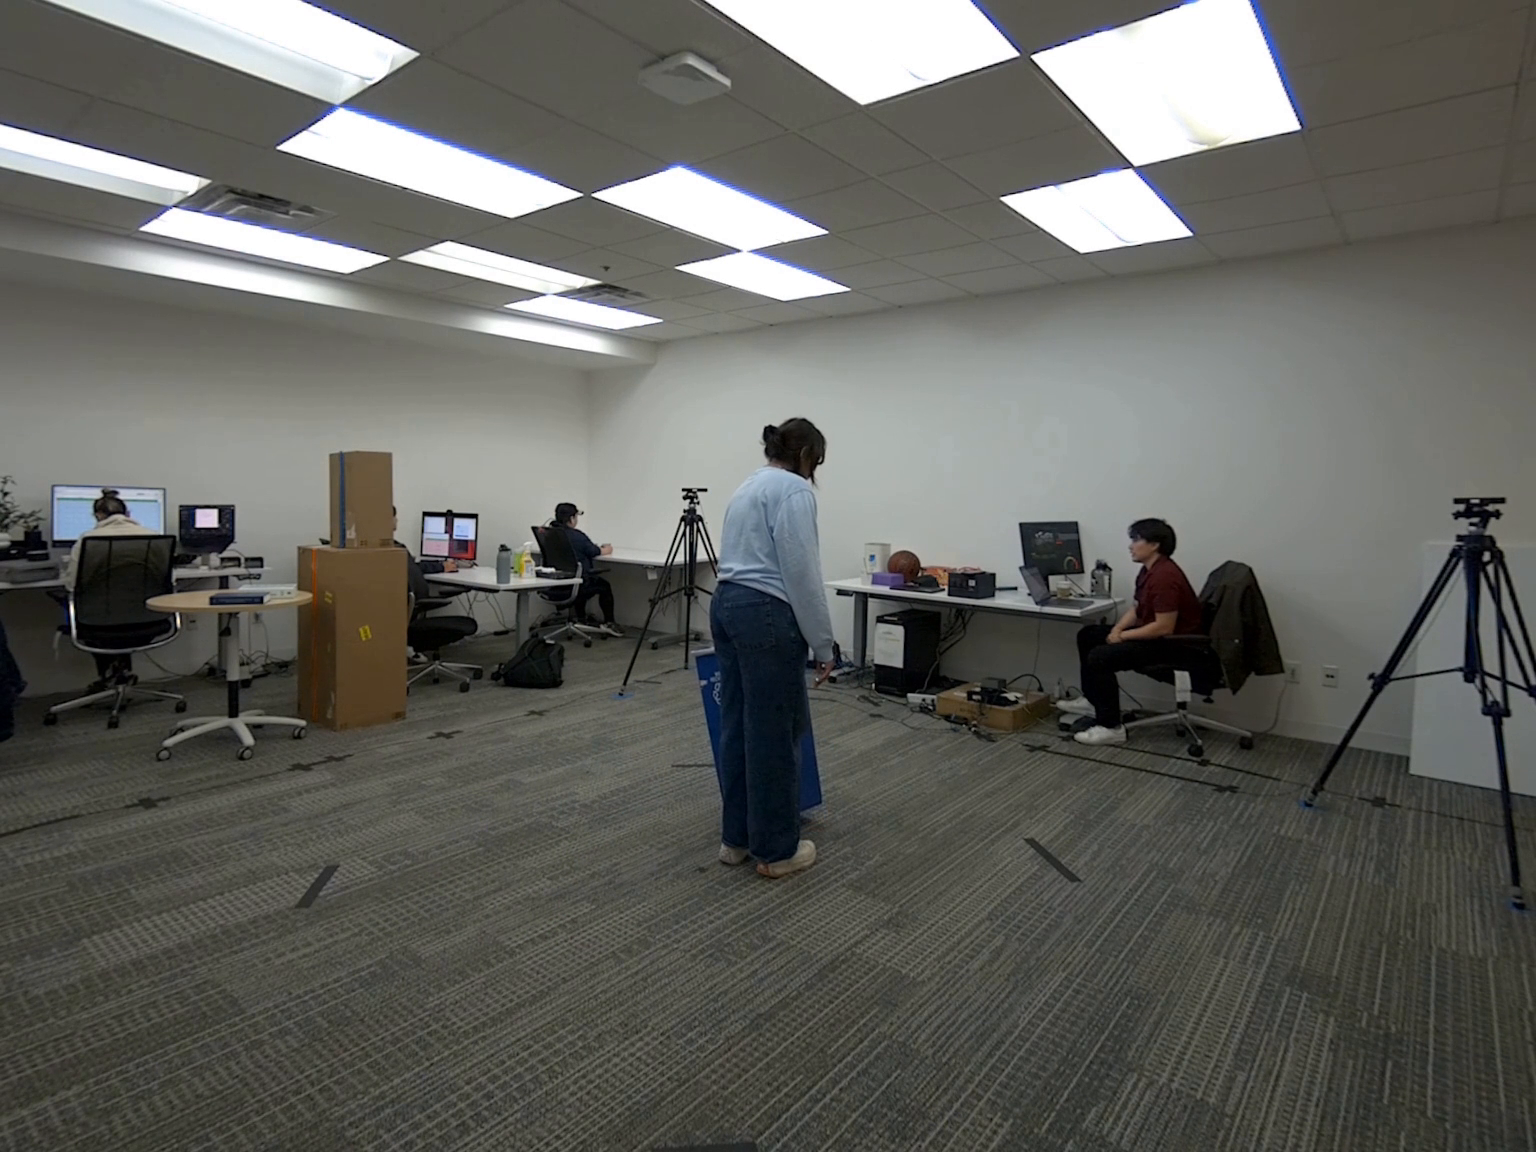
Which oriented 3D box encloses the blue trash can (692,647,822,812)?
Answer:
[{"bbox_3d":[-0.036,0.634,3.625,0.367,0.720,0.382,-4,-10,-45],"label":"blue trash can"}]
